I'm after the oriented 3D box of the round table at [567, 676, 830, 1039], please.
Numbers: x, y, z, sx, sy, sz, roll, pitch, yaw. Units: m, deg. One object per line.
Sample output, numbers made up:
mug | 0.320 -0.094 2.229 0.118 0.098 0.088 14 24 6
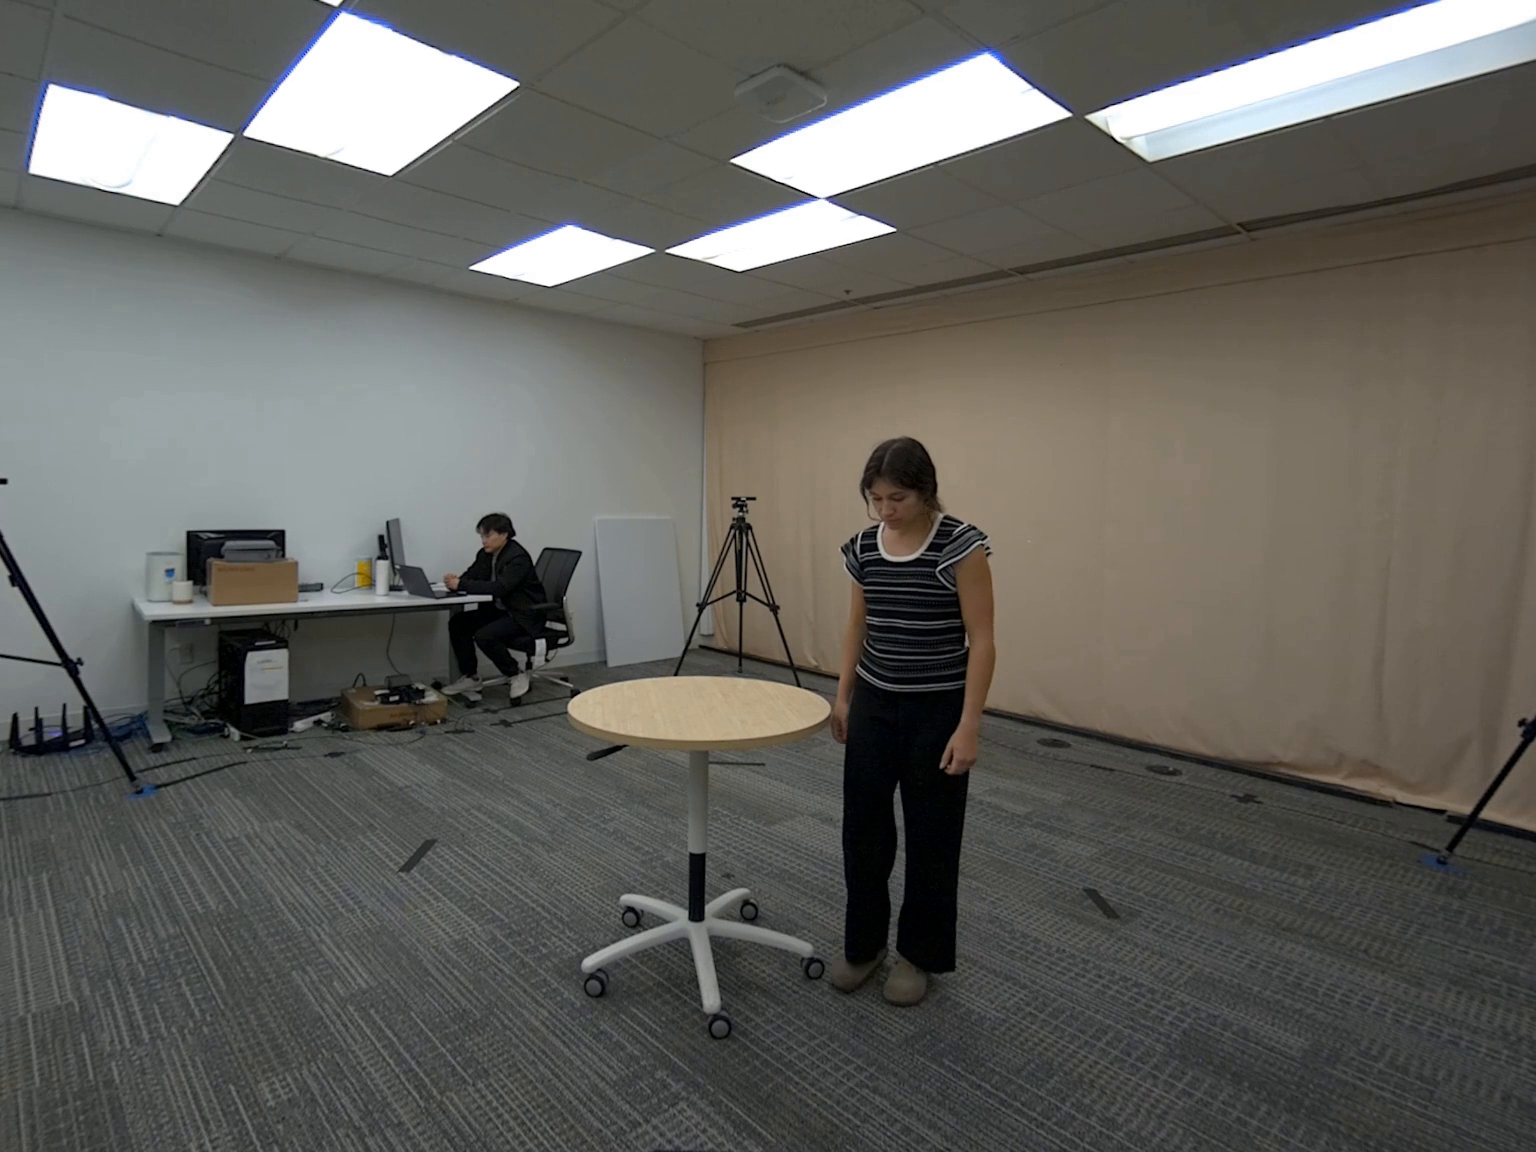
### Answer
round table | -0.205 0.771 2.493 0.763 0.792 0.767 1 4 -1
